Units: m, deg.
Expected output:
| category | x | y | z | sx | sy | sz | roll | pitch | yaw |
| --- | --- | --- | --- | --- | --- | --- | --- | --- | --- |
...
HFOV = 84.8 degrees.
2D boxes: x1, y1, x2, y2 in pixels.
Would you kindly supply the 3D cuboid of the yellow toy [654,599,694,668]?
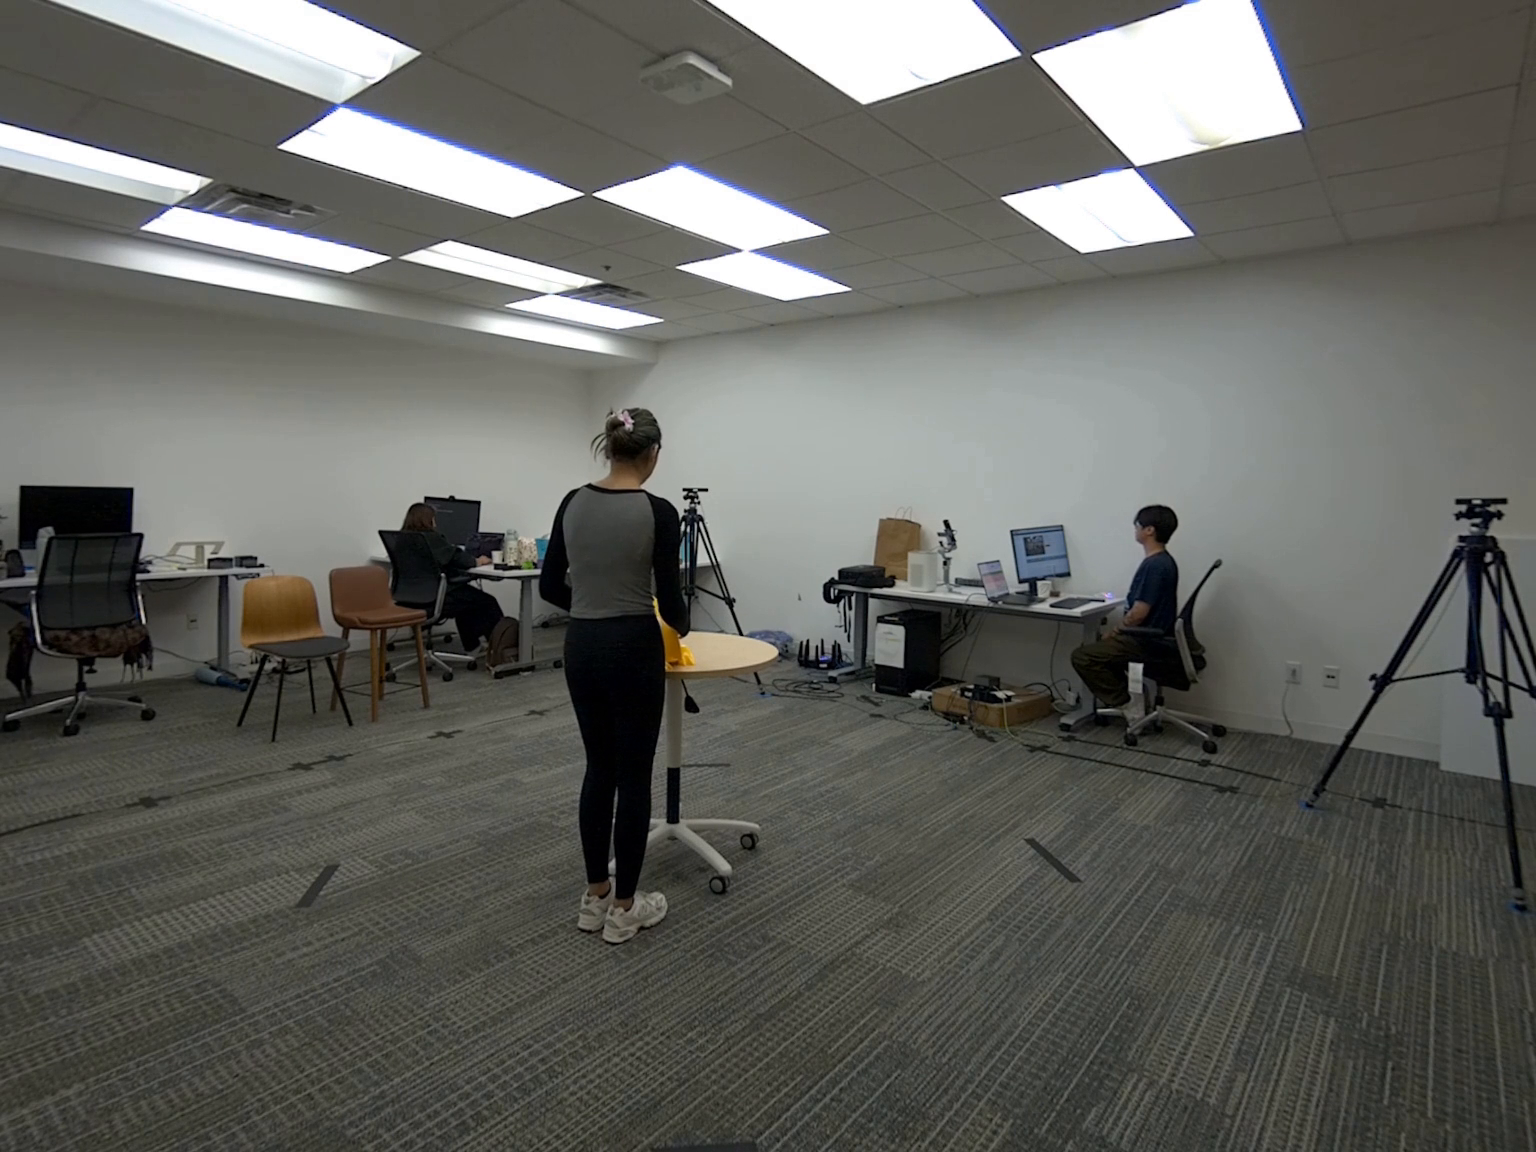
| category | x | y | z | sx | sy | sz | roll | pitch | yaw |
| --- | --- | --- | --- | --- | --- | --- | --- | --- | --- |
| yellow toy | -0.367 | 0.186 | 2.890 | 0.199 | 0.230 | 0.199 | 4 | 6 | 43 |
